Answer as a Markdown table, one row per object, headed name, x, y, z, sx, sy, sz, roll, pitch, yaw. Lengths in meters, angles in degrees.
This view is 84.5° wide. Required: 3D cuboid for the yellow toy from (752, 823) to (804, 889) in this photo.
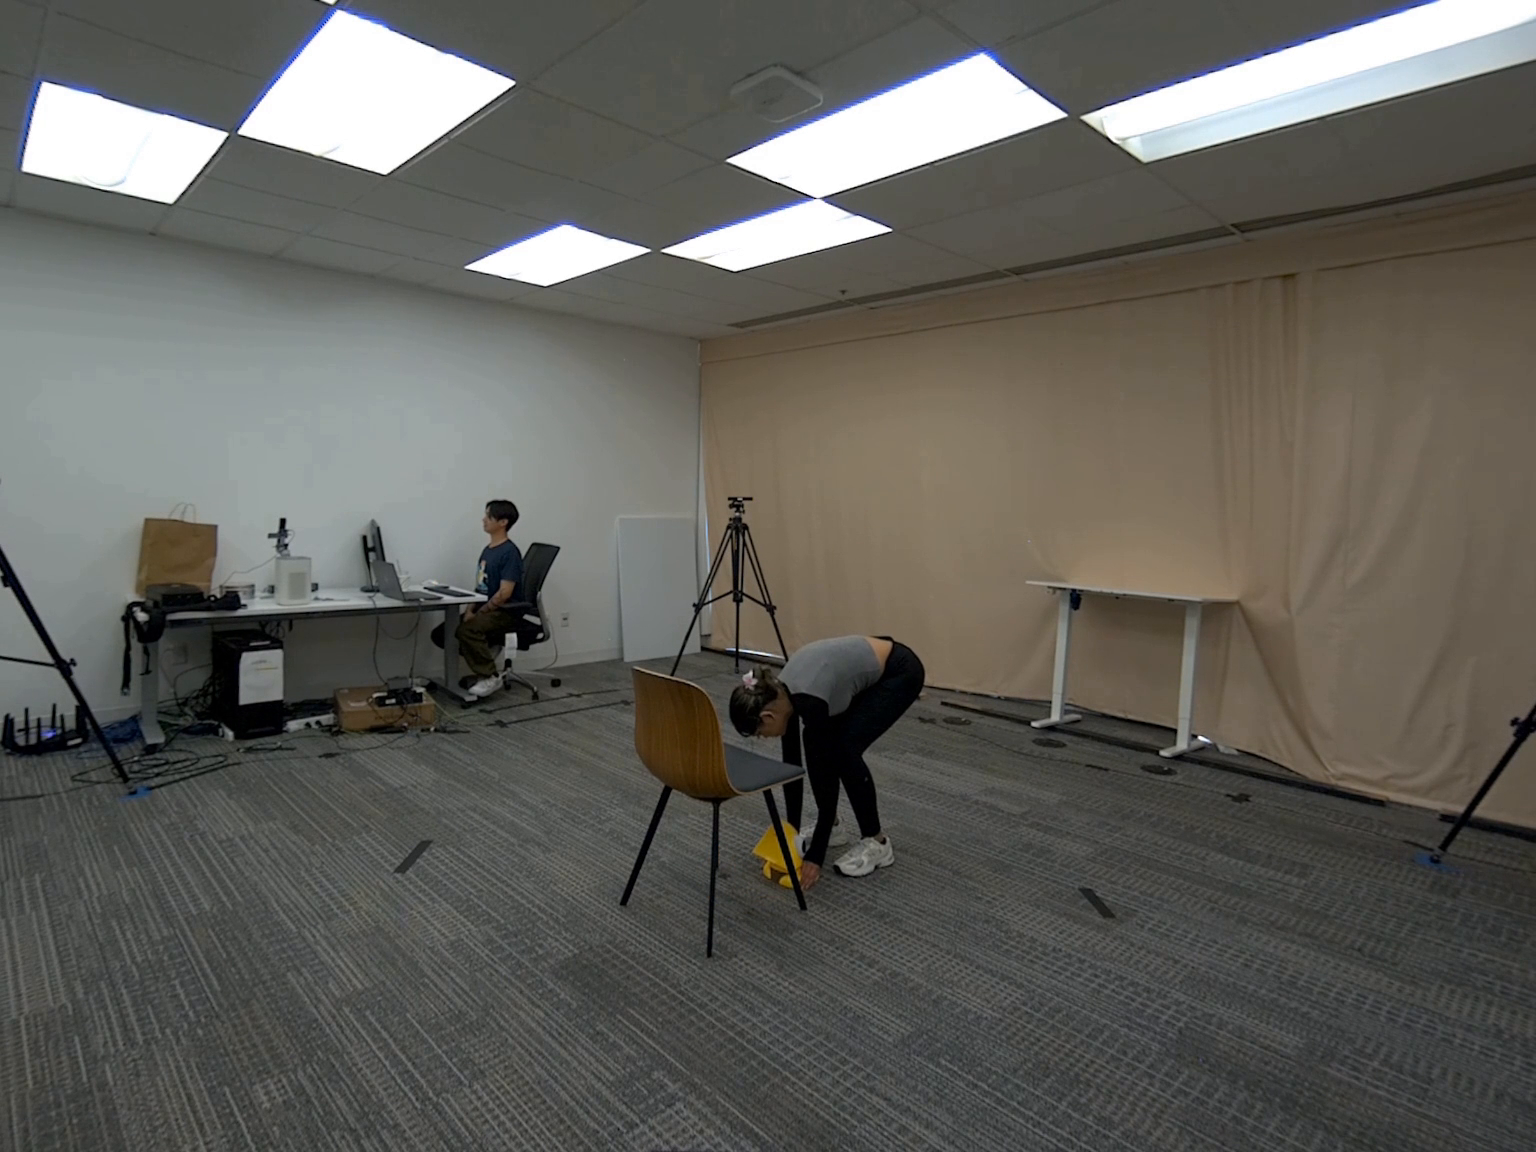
| name | x | y | z | sx | sy | sz | roll | pitch | yaw |
| --- | --- | --- | --- | --- | --- | --- | --- | --- | --- |
| yellow toy | 0.064 | 1.000 | 3.107 | 0.189 | 0.230 | 0.210 | -6 | 7 | -41 |
